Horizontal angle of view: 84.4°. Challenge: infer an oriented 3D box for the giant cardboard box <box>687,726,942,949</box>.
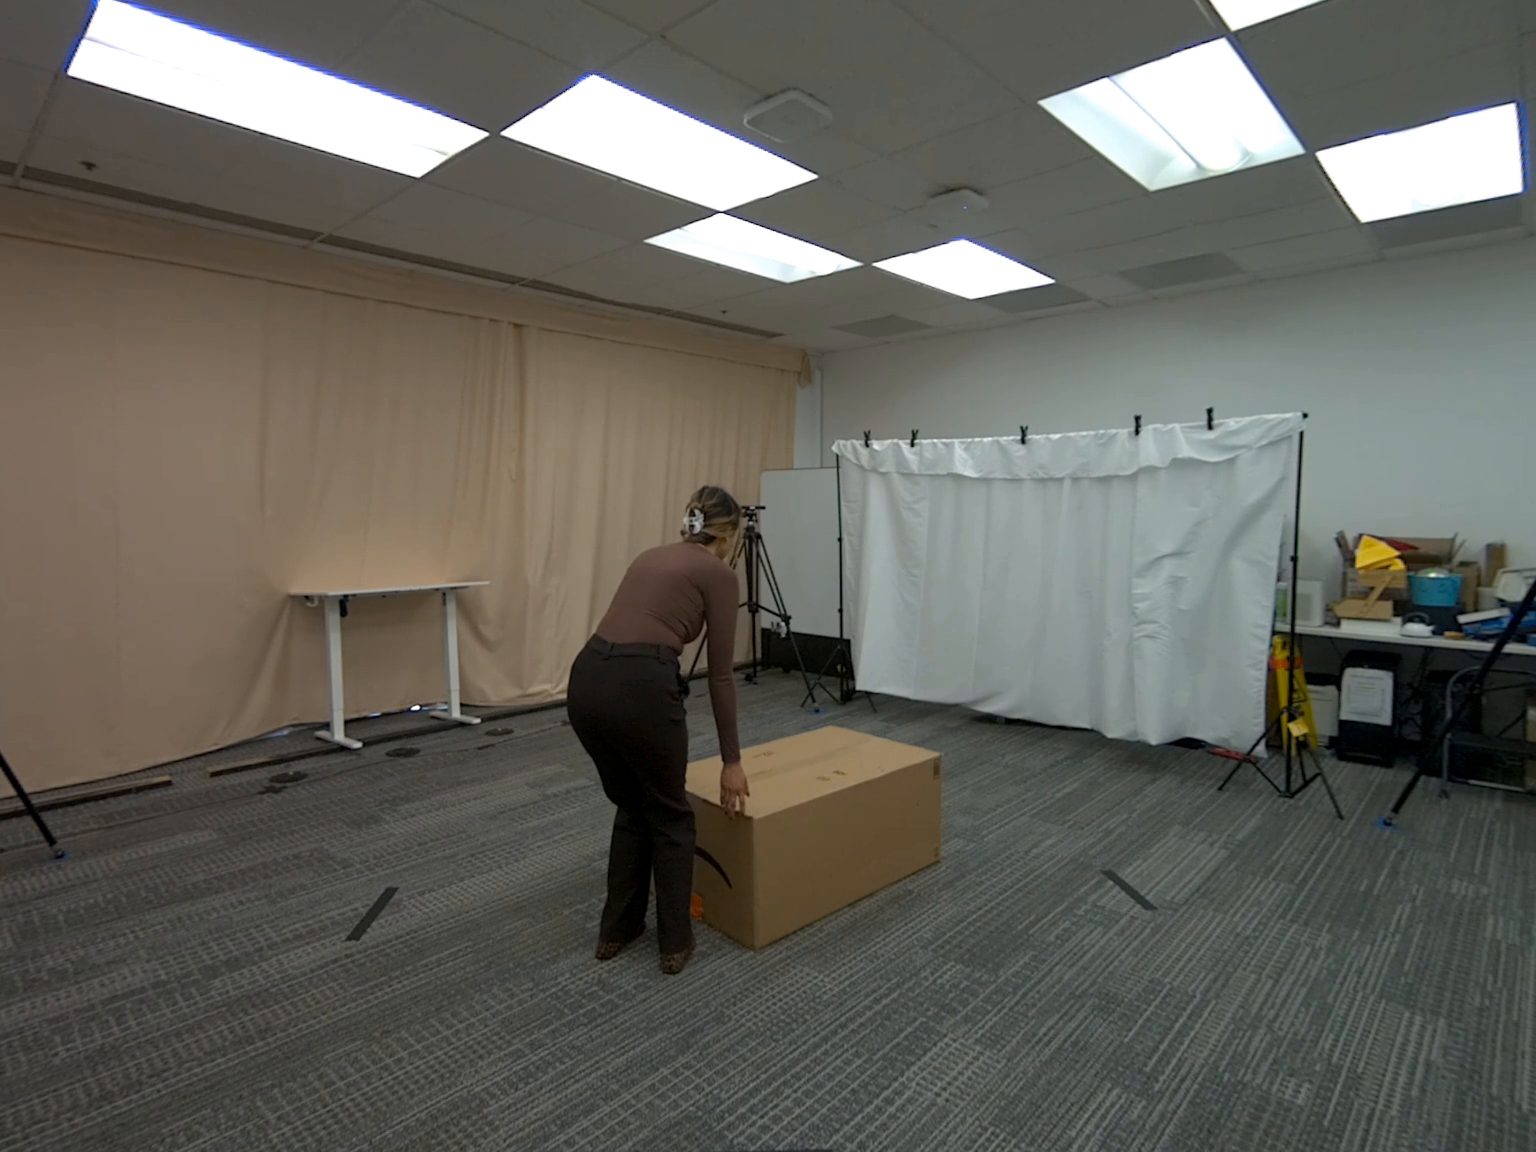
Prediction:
[{"bbox_3d":[0.121,0.919,3.170,0.995,0.446,0.603,-4,4,-43],"label":"giant cardboard box"}]
